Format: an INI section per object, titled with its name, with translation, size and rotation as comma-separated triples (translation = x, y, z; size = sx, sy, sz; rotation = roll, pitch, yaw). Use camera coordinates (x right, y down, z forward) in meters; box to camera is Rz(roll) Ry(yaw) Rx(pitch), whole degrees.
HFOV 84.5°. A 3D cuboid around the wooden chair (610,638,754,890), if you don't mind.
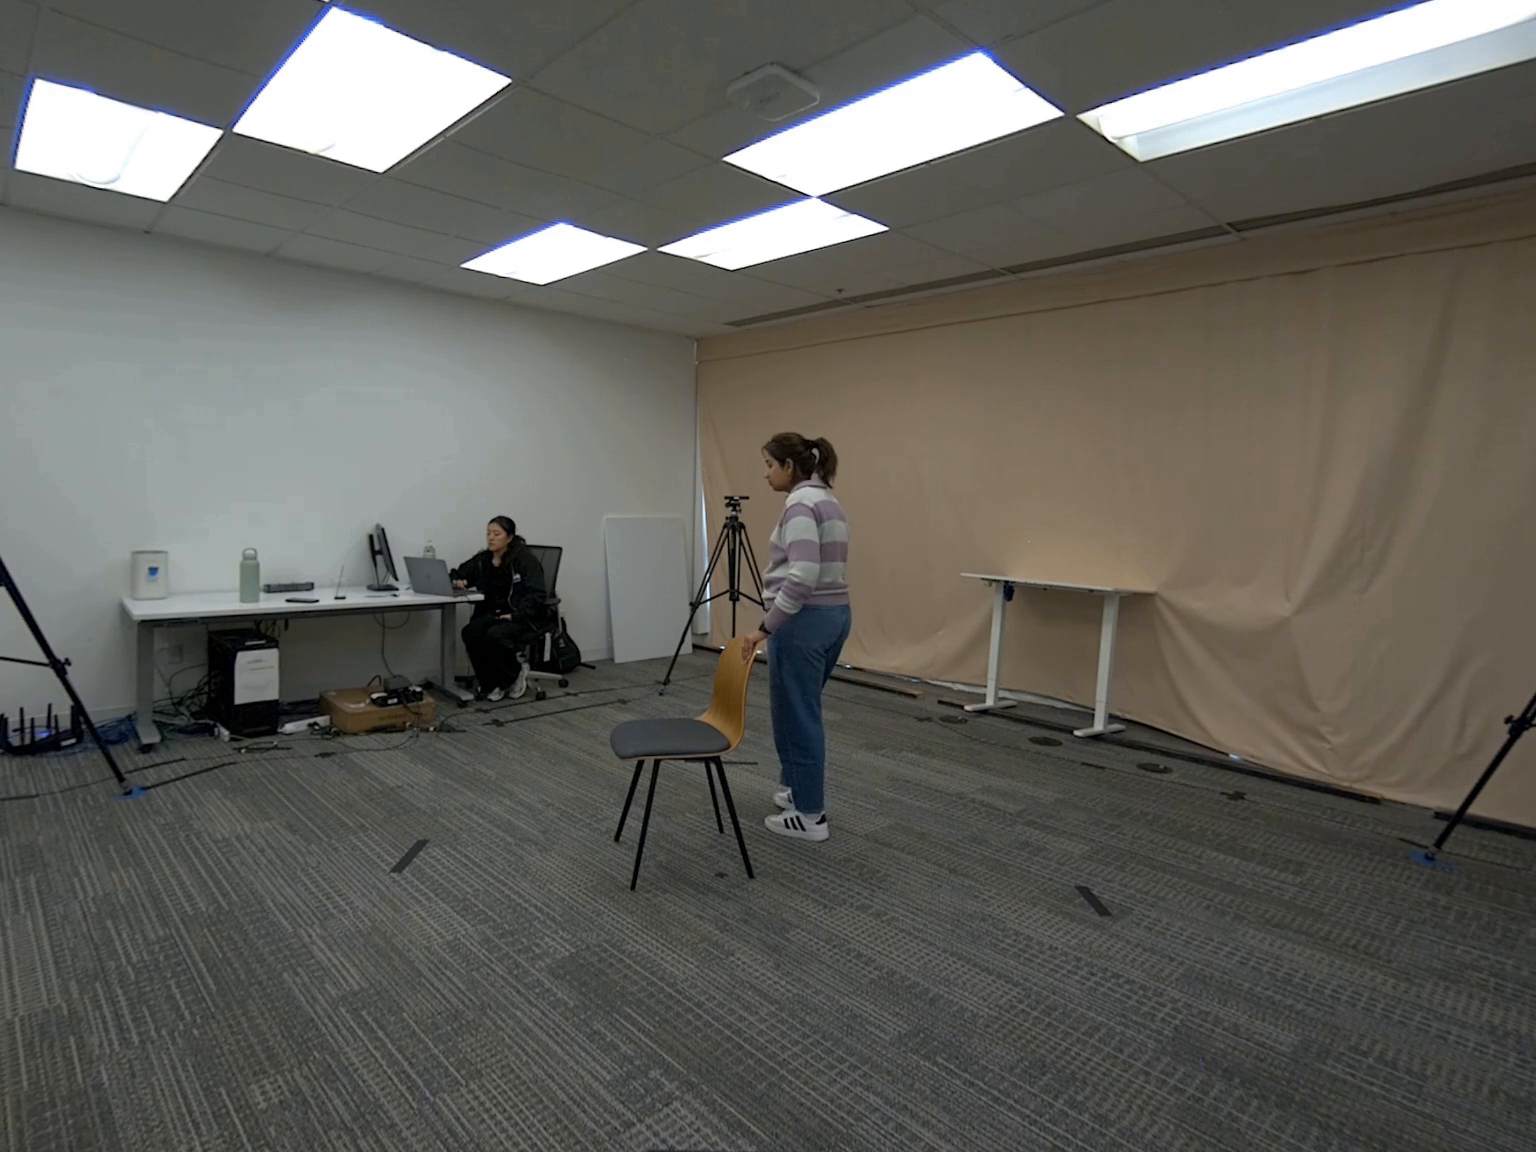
[wooden chair]
translation = -0.335, 0.662, 3.195
size = 0.516, 0.876, 0.485
rotation = 5, 3, -17
